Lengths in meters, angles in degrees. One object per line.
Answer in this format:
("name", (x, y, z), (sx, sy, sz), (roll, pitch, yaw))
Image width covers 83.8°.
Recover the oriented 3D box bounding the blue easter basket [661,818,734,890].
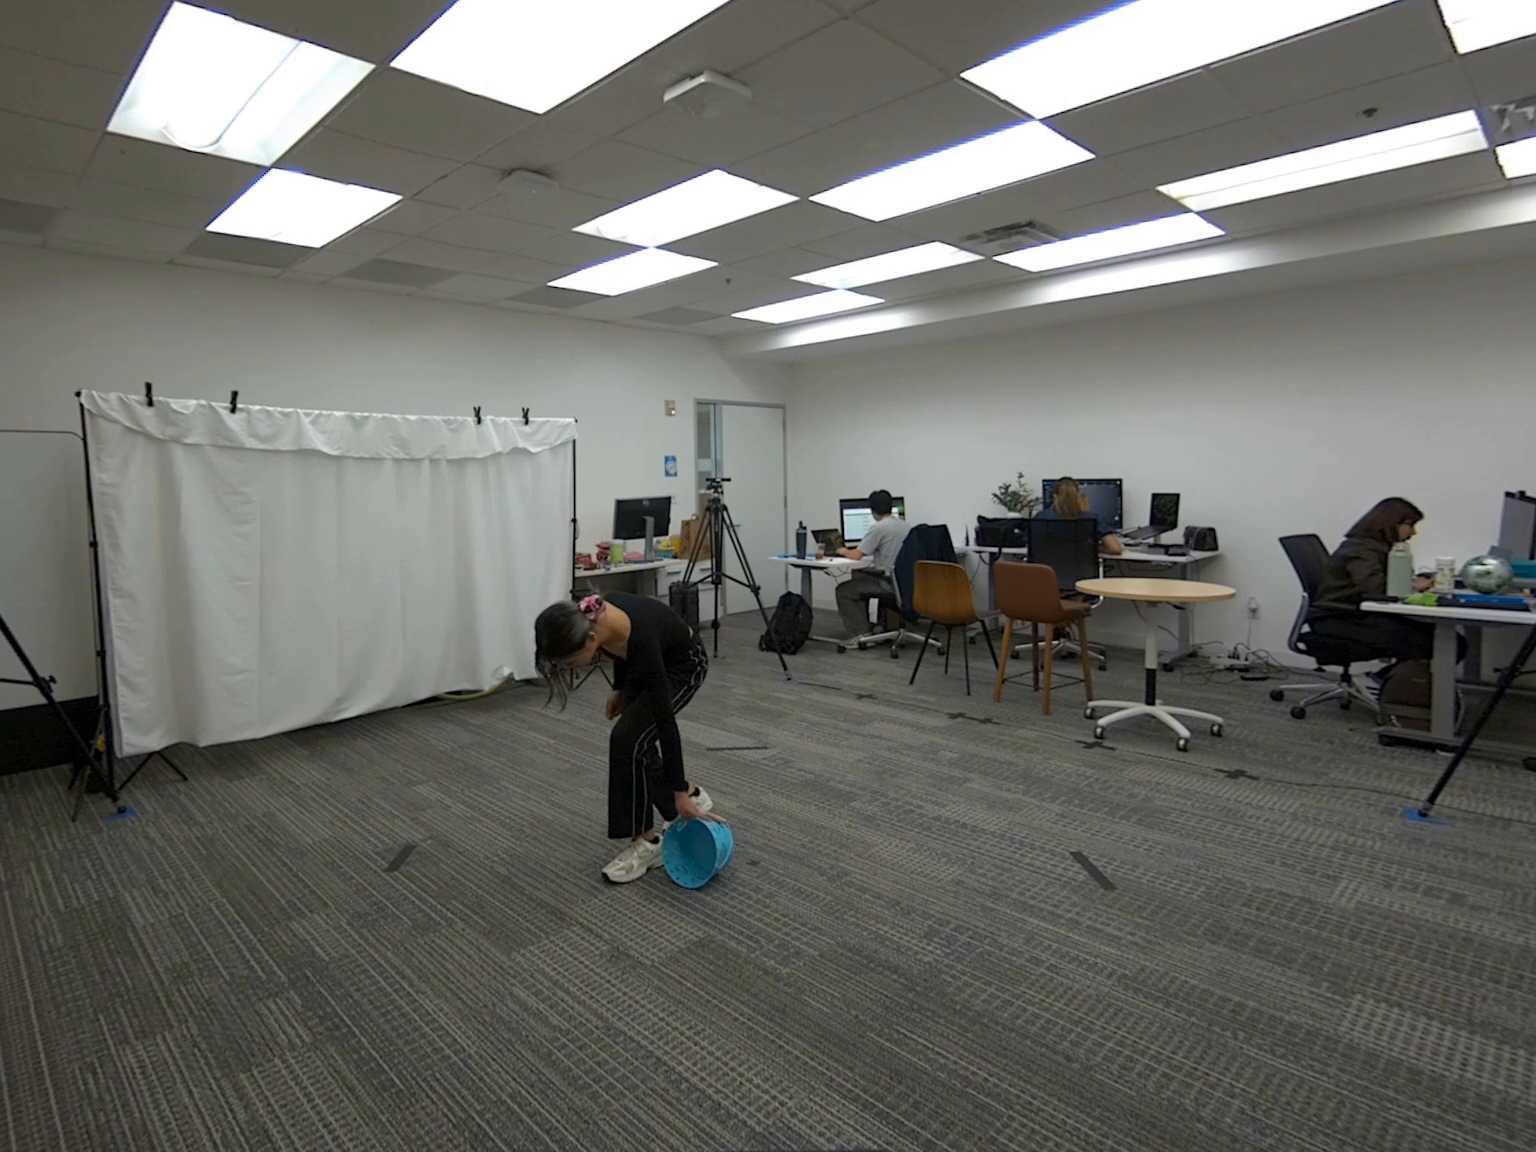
("blue easter basket", (-0.230, 0.947, 2.981), (0.250, 0.245, 0.151), (2, -7, 29))
